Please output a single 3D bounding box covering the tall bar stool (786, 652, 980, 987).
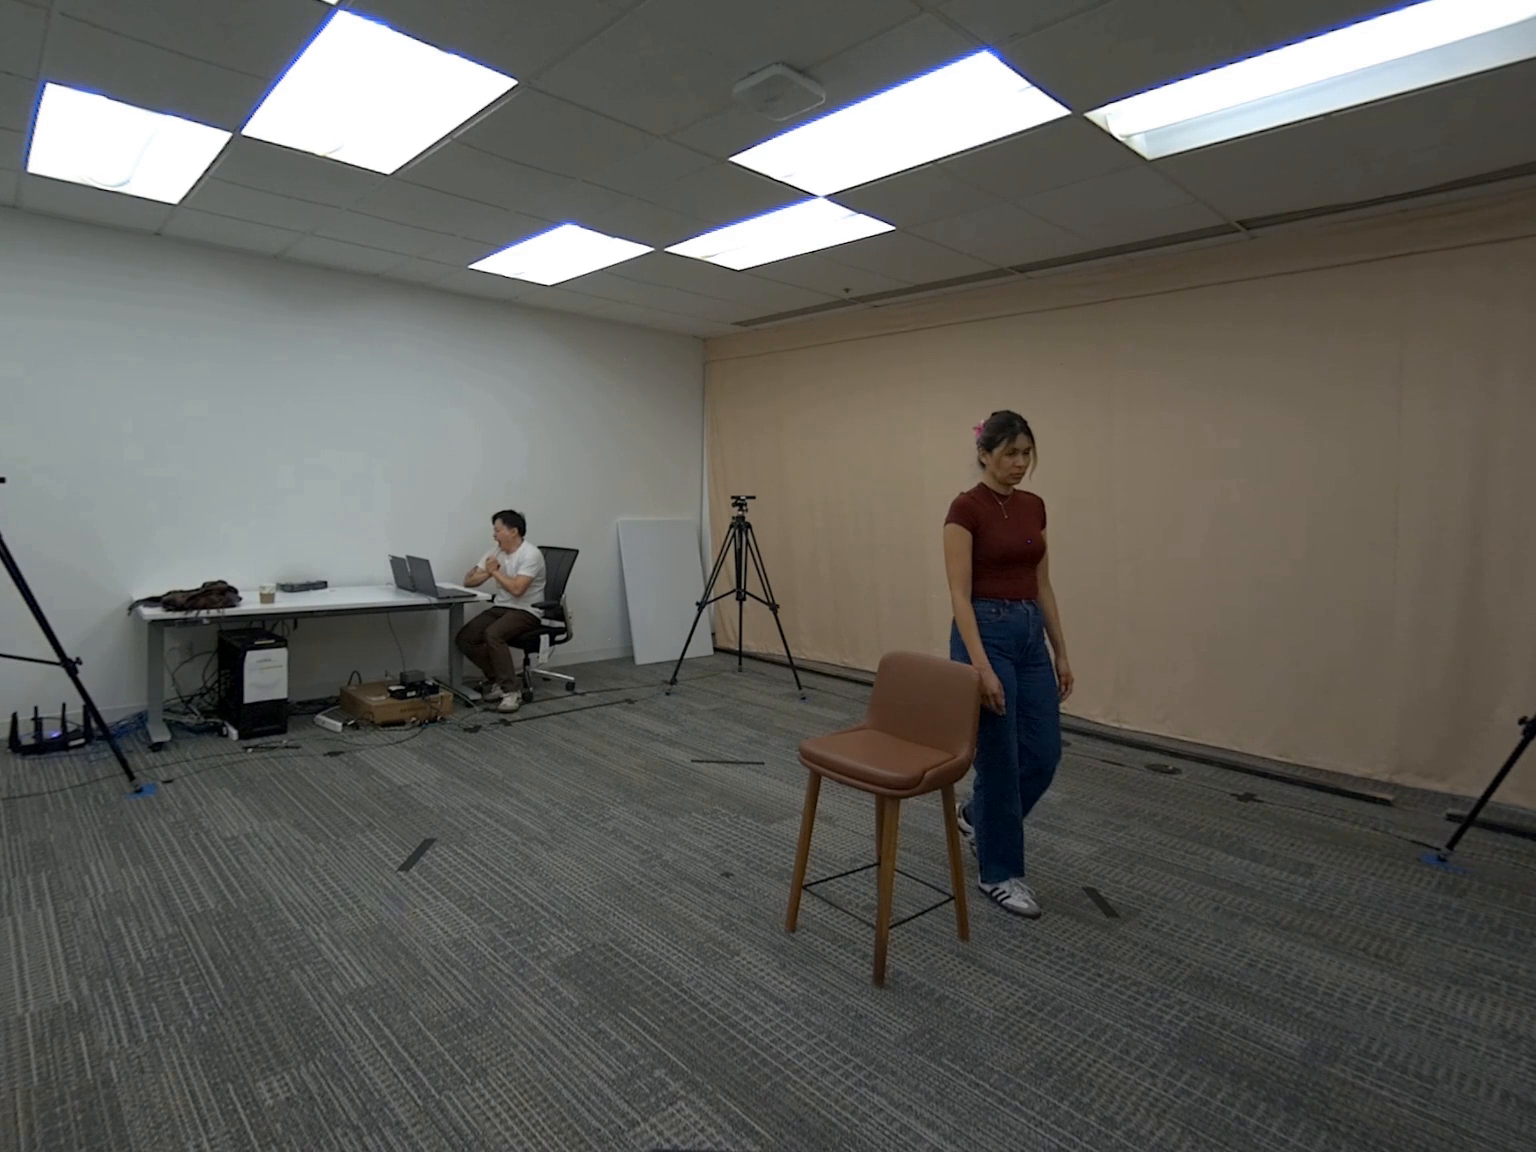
[{"bbox_3d":[0.371,0.718,2.671,0.456,0.888,0.468,1,3,-39],"label":"tall bar stool"}]
